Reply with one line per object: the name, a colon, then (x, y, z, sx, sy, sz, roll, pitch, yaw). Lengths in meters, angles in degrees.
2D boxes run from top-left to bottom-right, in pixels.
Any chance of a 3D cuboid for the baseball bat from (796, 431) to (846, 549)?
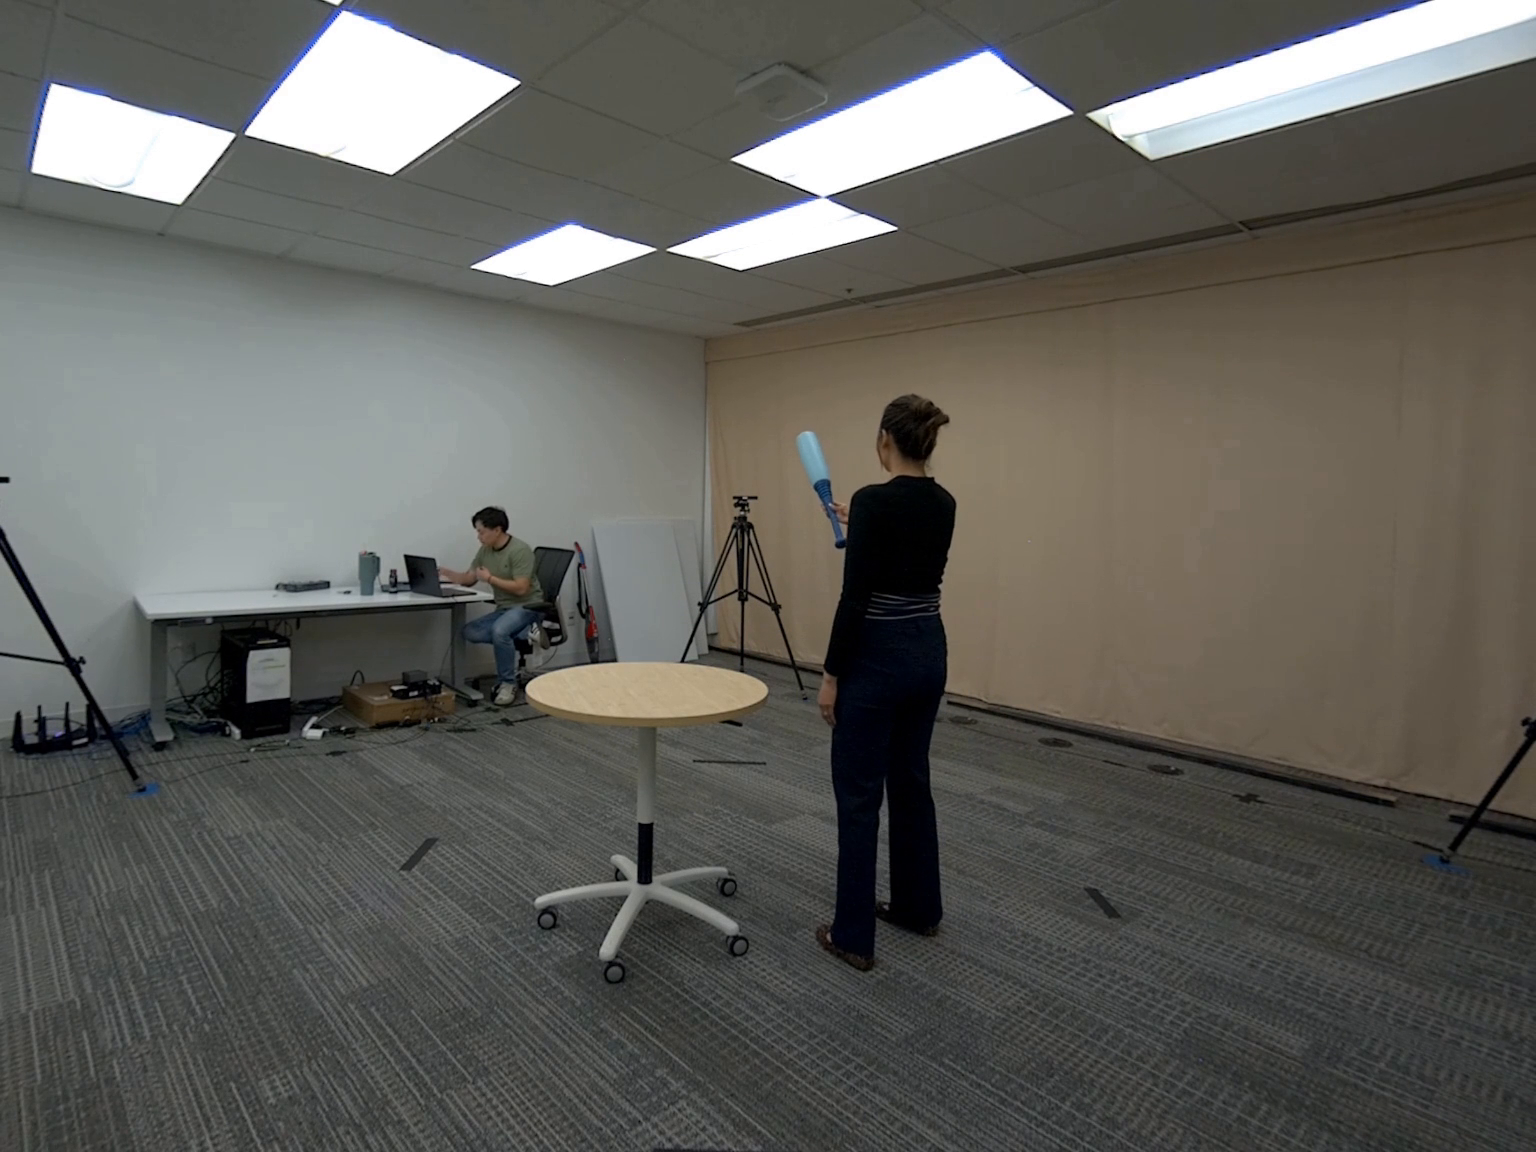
baseball bat: (0.203, -0.329, 3.192, 0.088, 0.557, 0.087, -9, -35, -8)
